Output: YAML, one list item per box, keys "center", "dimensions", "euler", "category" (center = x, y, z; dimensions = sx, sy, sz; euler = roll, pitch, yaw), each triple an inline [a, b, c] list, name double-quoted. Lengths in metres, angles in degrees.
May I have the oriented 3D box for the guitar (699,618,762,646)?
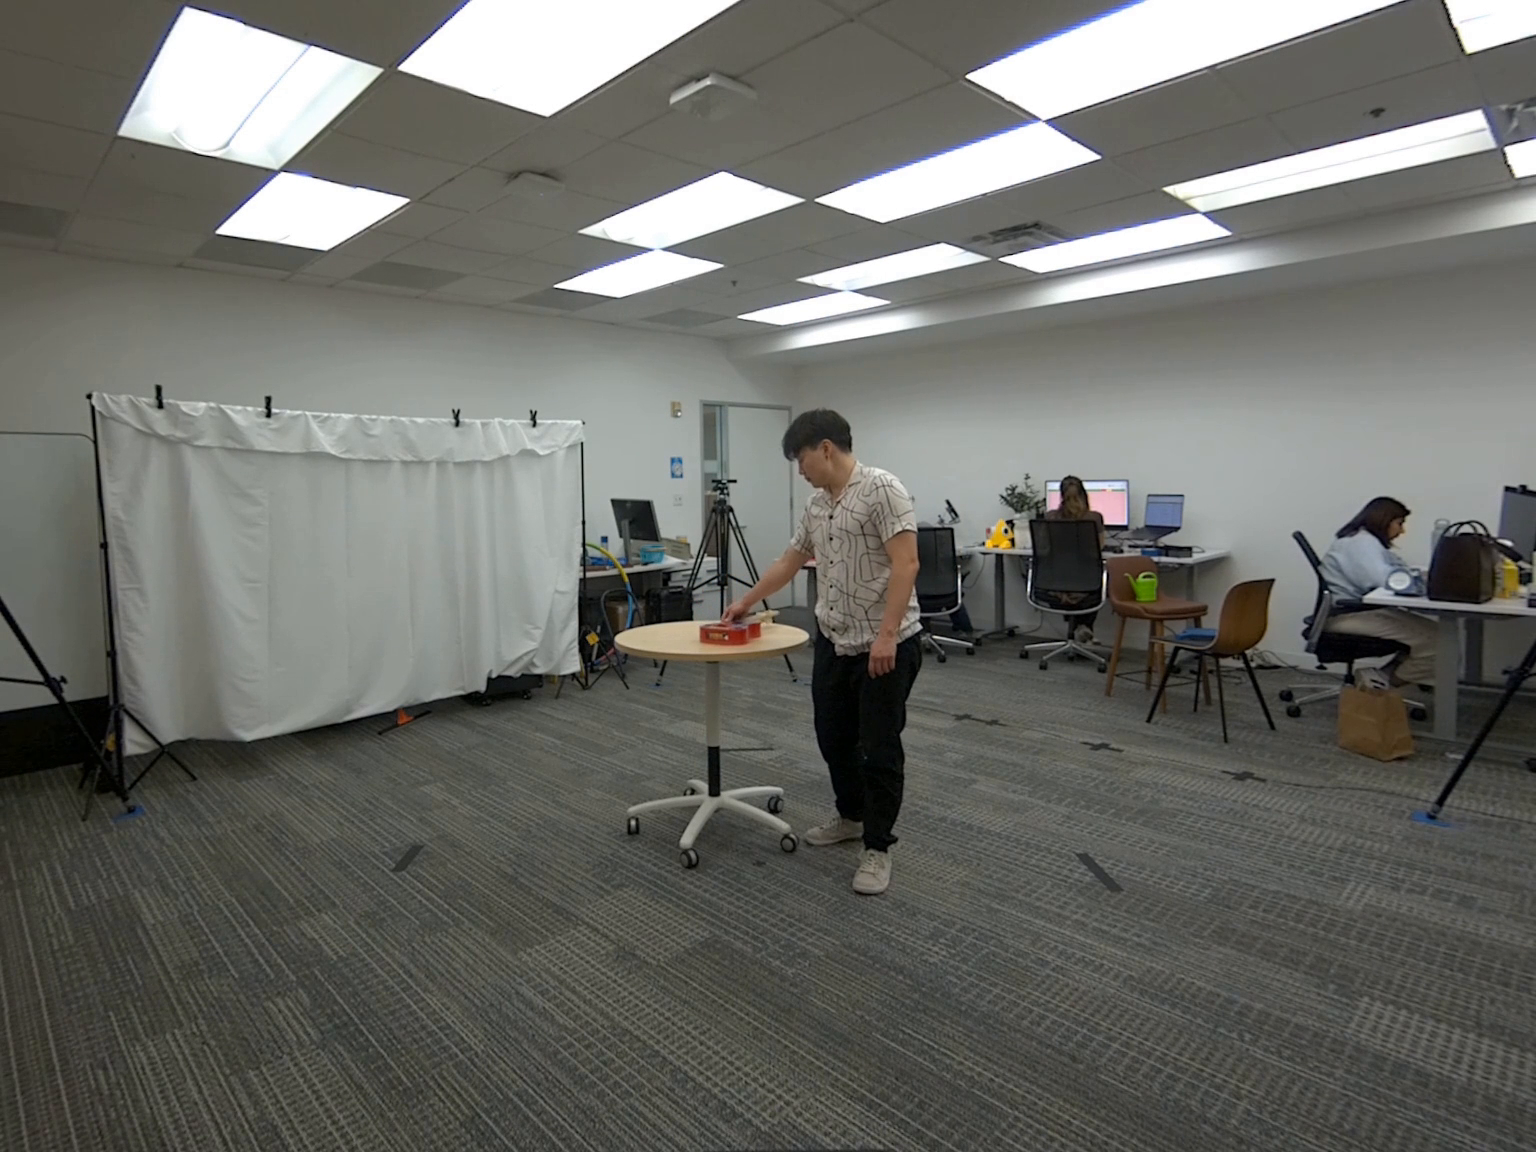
- center: [-0.058, 0.202, 3.379]
  dimensions: [0.199, 0.070, 0.485]
  euler: [4, 7, 36]
  category: "guitar"
